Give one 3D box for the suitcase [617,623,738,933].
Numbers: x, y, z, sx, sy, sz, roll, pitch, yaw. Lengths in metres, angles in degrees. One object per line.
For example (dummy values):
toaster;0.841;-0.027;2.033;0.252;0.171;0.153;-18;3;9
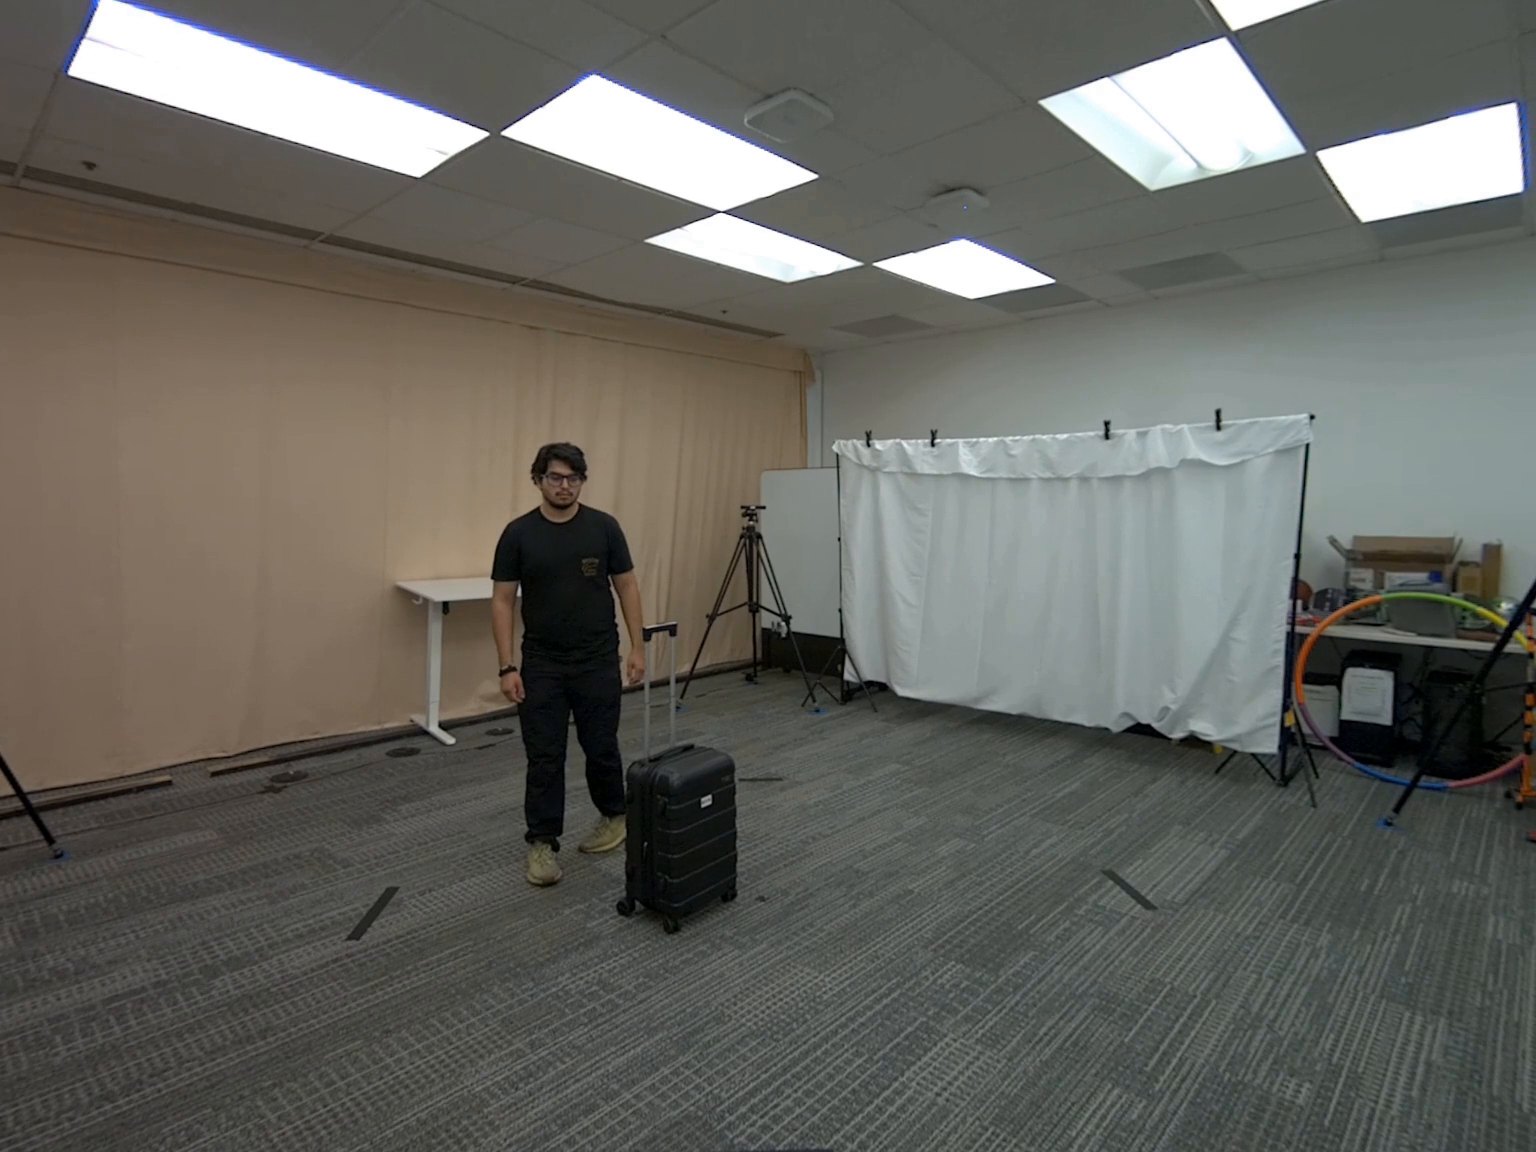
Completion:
suitcase;-0.290;0.675;2.887;0.265;0.976;0.372;6;6;38
